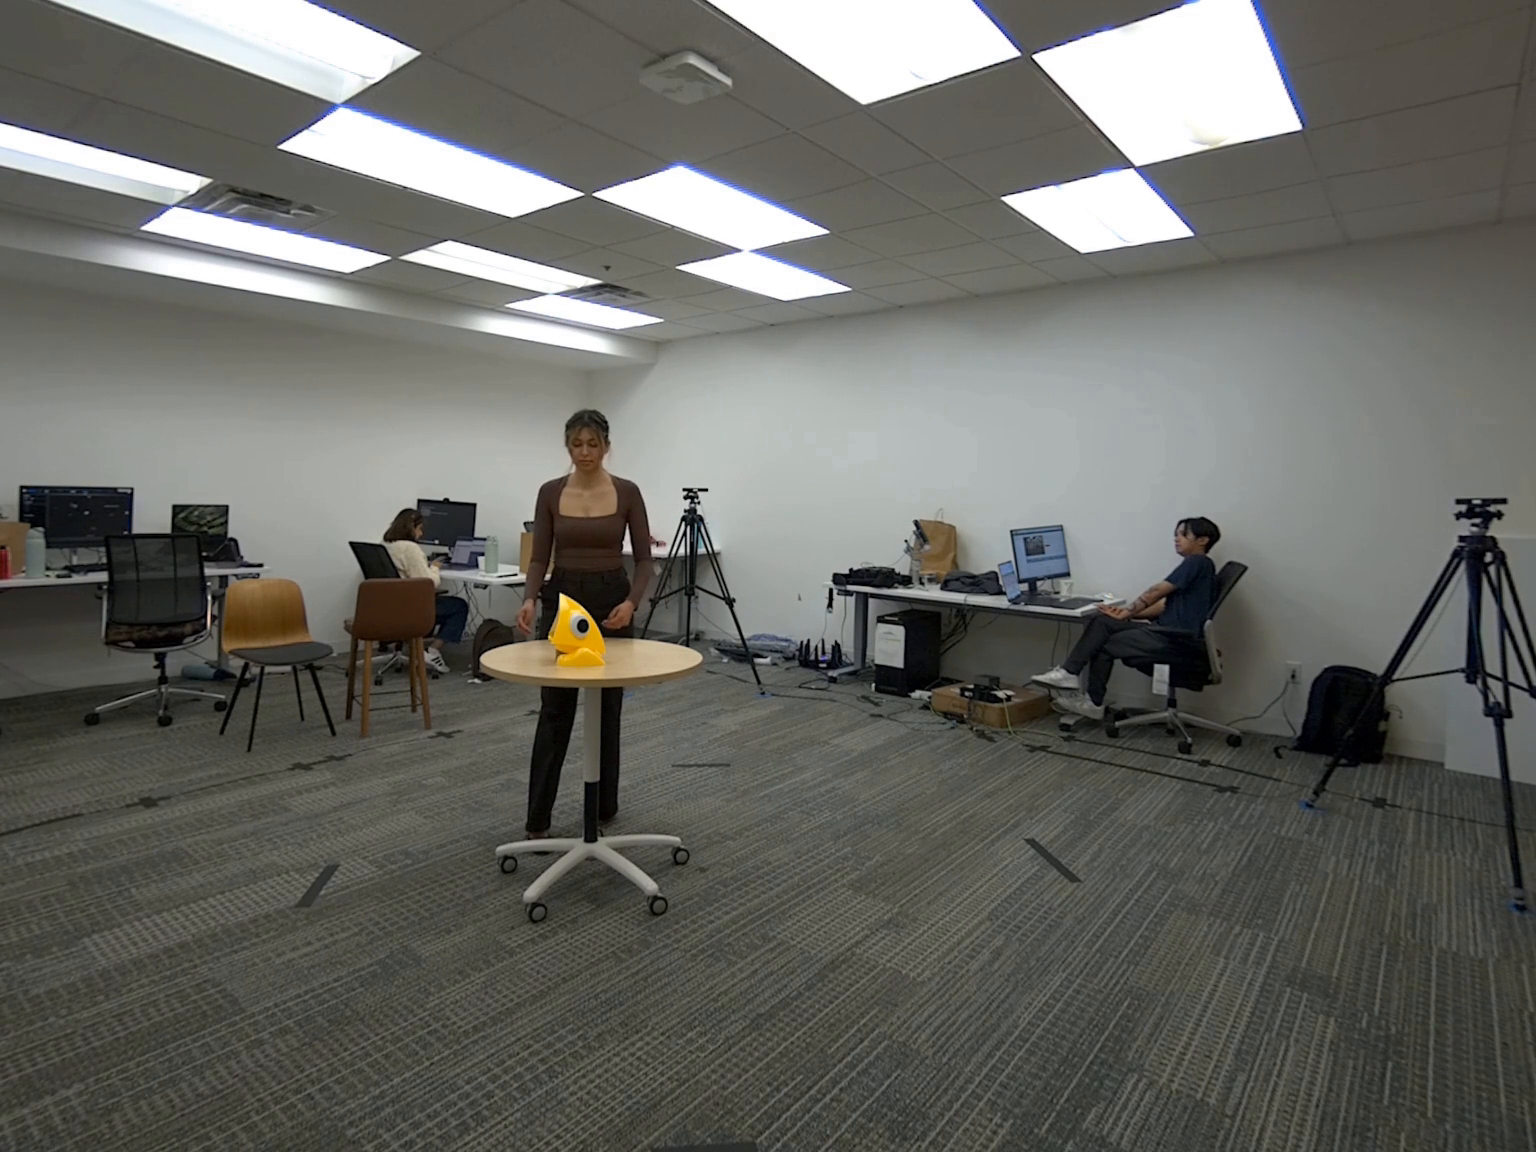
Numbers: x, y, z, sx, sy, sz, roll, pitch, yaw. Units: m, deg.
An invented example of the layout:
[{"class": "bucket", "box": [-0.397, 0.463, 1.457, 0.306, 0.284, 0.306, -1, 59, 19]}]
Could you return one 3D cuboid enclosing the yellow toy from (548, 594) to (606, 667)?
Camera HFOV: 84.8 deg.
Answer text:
[{"class": "yellow toy", "box": [-0.653, 0.168, 2.874, 0.190, 0.230, 0.208, 0, 4, -15]}]
